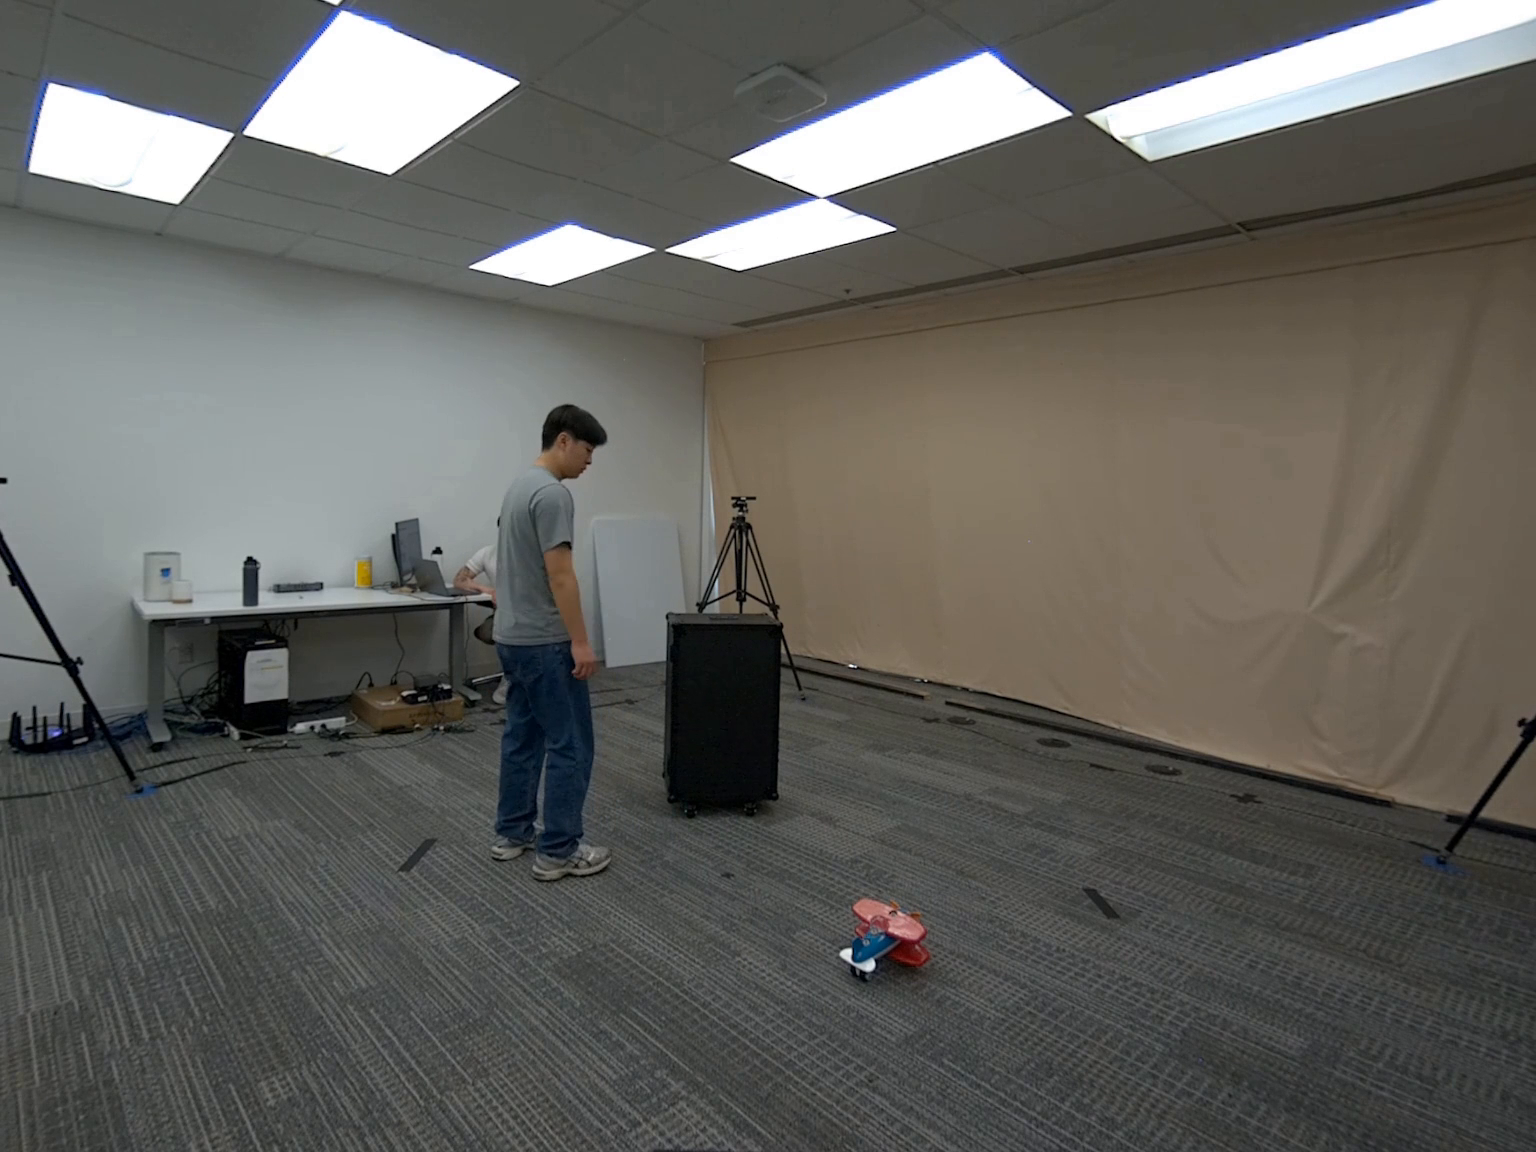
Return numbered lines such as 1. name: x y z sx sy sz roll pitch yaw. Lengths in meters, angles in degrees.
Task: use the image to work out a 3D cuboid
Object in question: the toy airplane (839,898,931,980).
1. toy airplane: 0.348 1.102 2.502 0.255 0.156 0.255 3 4 21
